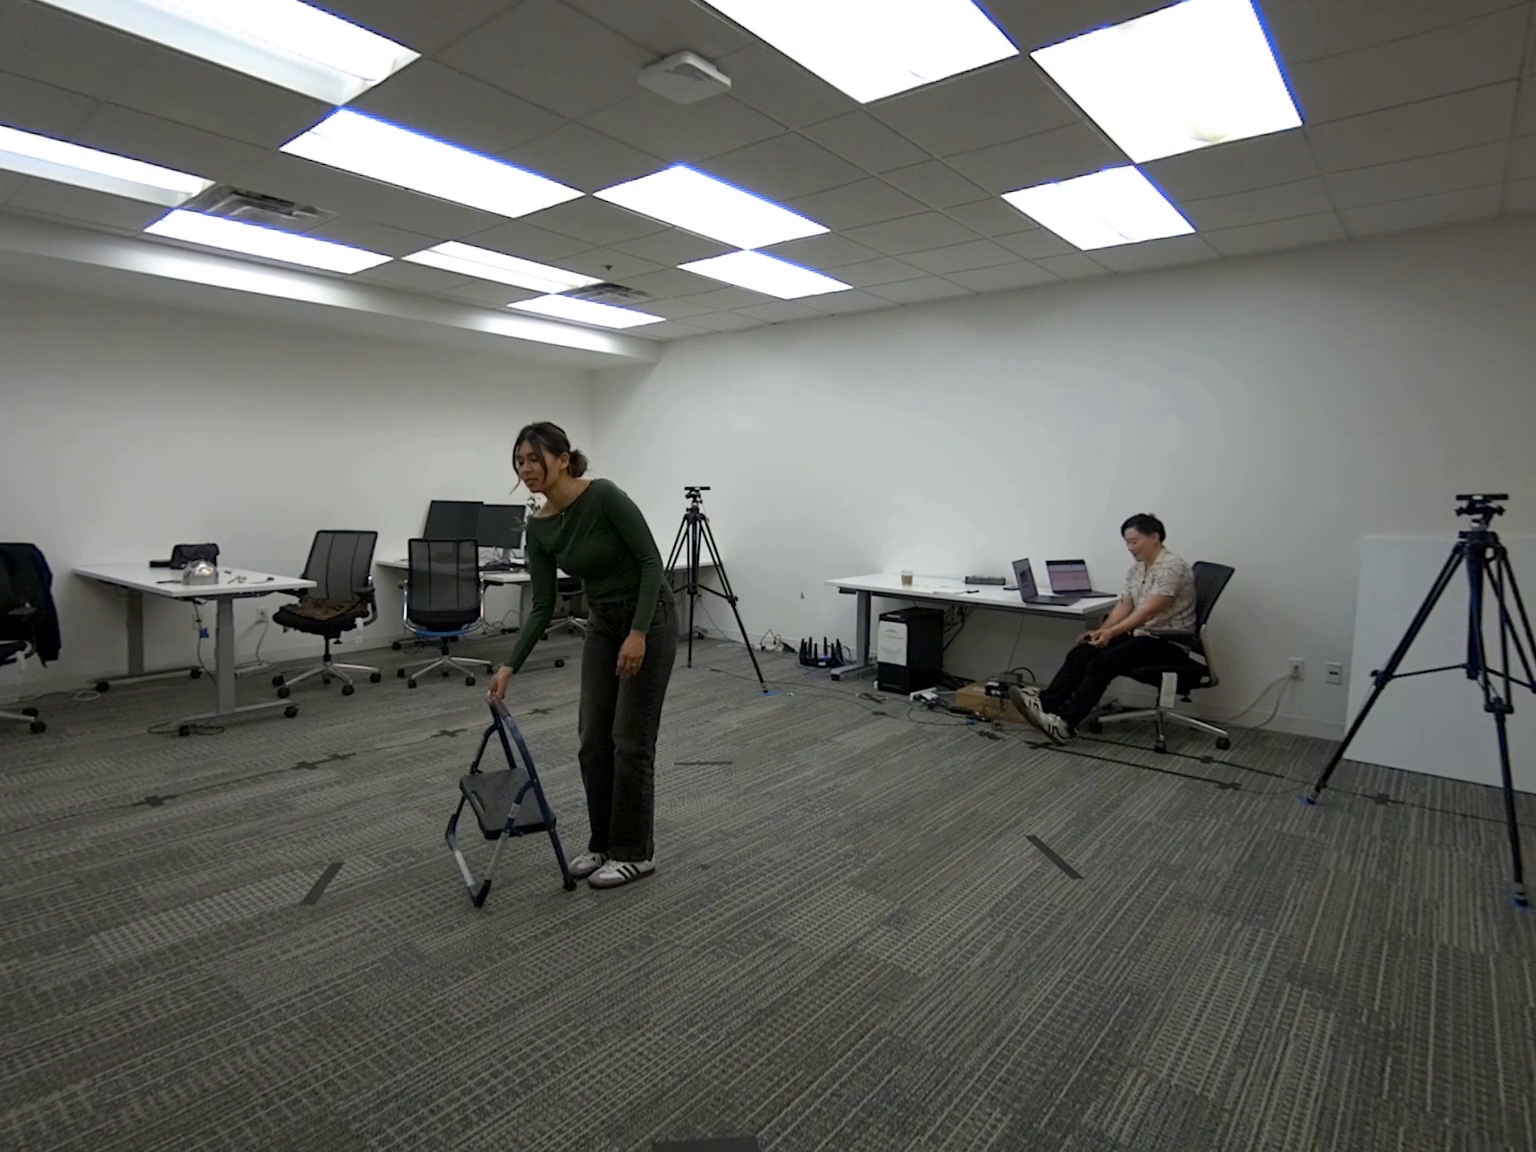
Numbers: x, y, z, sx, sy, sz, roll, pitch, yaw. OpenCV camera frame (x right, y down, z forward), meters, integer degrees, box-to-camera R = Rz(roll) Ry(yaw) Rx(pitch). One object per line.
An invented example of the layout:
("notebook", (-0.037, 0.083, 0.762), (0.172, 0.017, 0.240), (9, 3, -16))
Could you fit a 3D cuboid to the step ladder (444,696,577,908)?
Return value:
("step ladder", (-0.887, 0.716, 2.931), (0.339, 0.600, 0.448), (1, 16, -36))
